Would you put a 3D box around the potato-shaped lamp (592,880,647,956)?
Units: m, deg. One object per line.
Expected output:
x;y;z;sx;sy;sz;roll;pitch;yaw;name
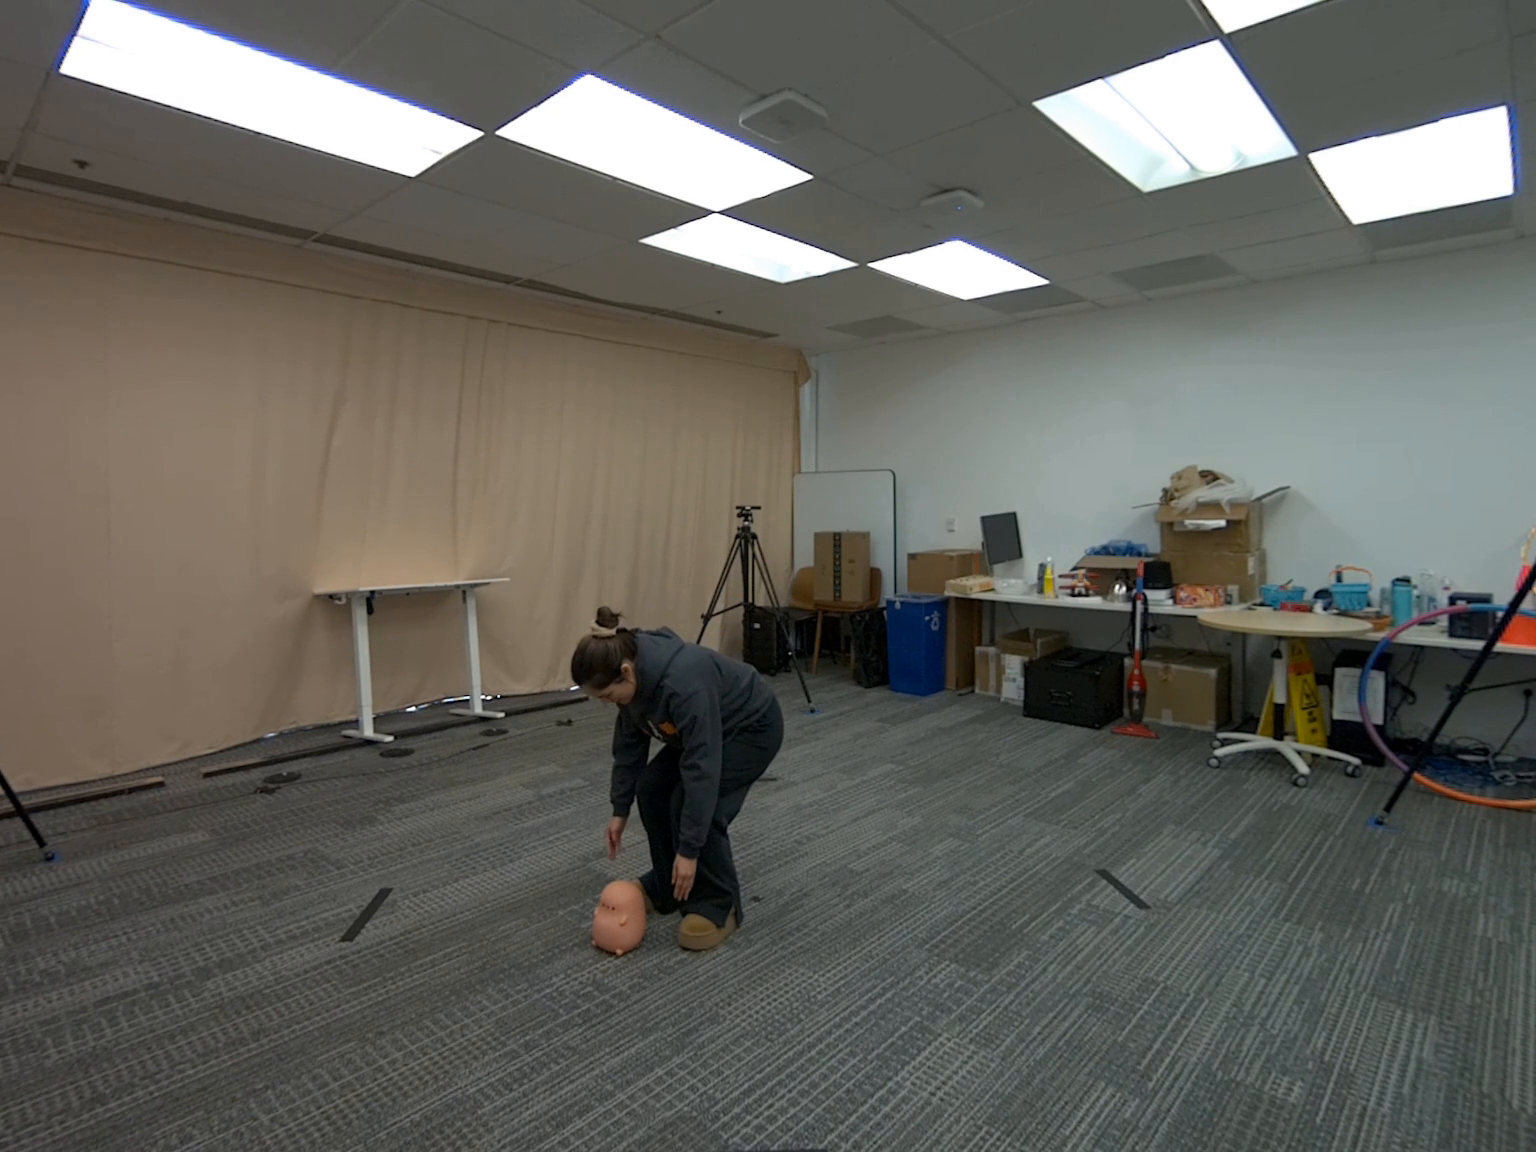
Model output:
-0.452;1.074;2.682;0.170;0.198;0.166;0;2;34;potato-shaped lamp
